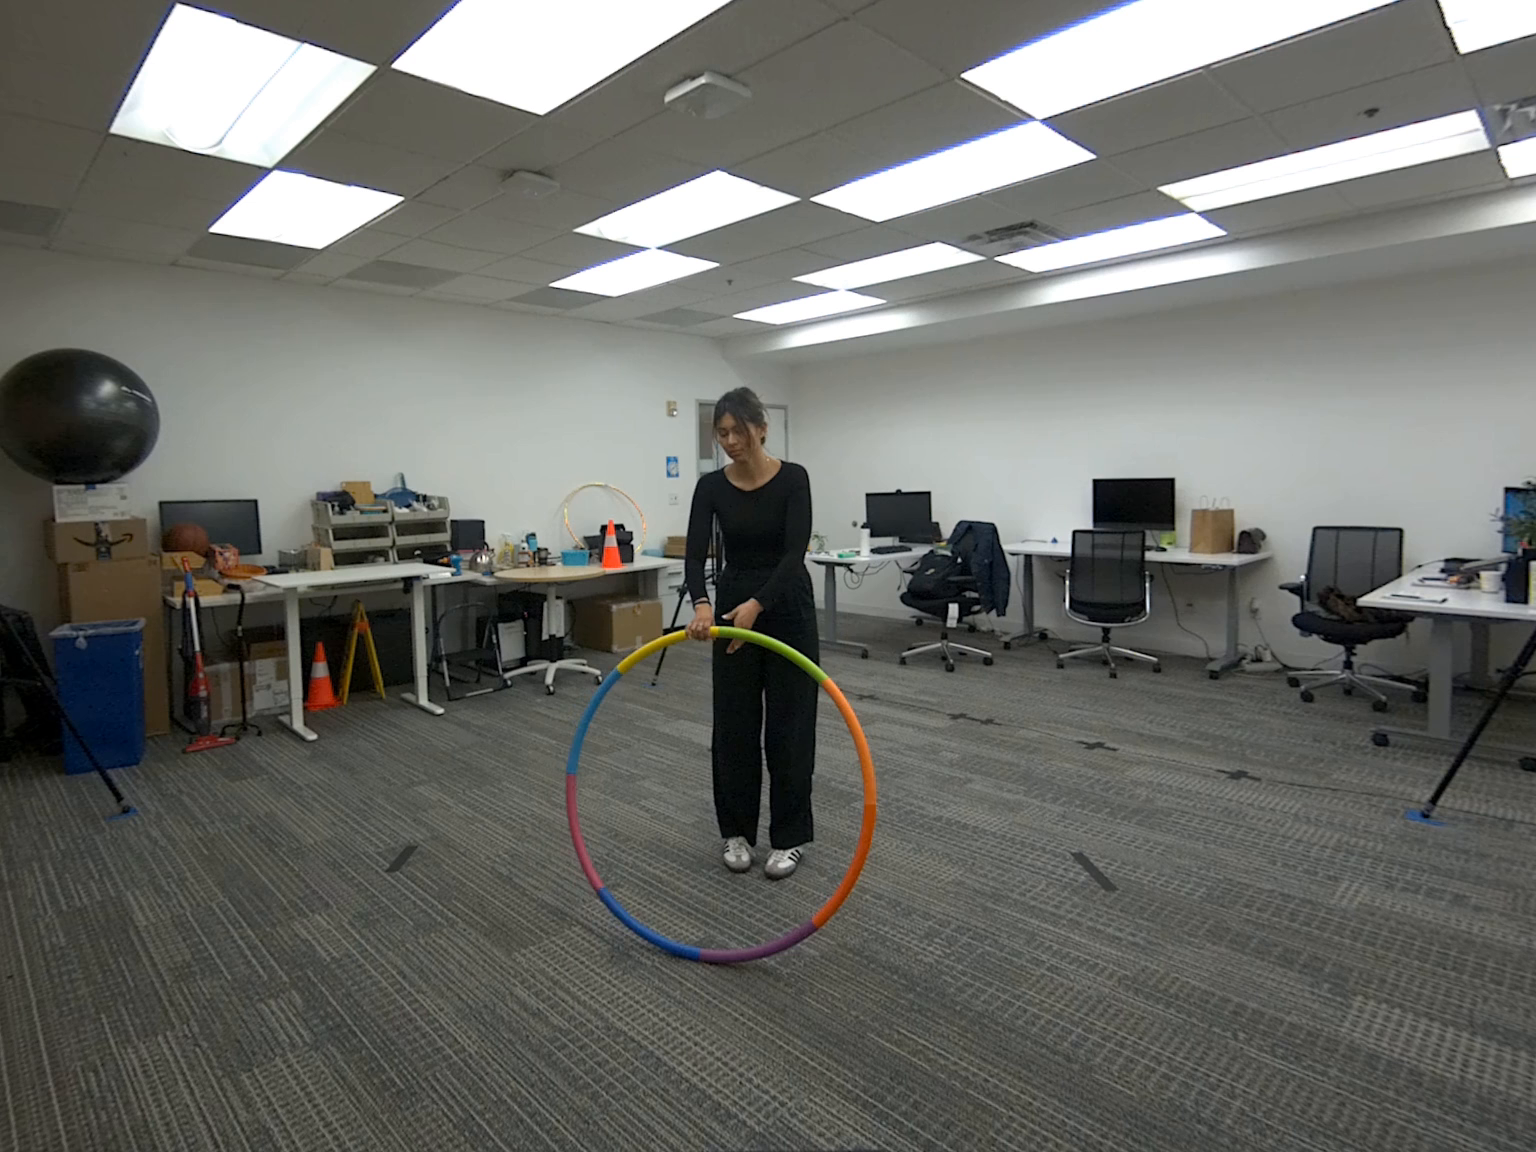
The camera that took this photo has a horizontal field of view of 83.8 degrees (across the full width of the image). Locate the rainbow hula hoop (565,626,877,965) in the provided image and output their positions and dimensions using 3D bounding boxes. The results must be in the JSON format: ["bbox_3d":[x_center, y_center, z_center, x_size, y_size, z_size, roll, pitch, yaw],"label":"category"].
[{"bbox_3d":[-0.172,0.639,2.583,0.998,0.988,0.034,1,-12,20],"label":"rainbow hula hoop"}]
